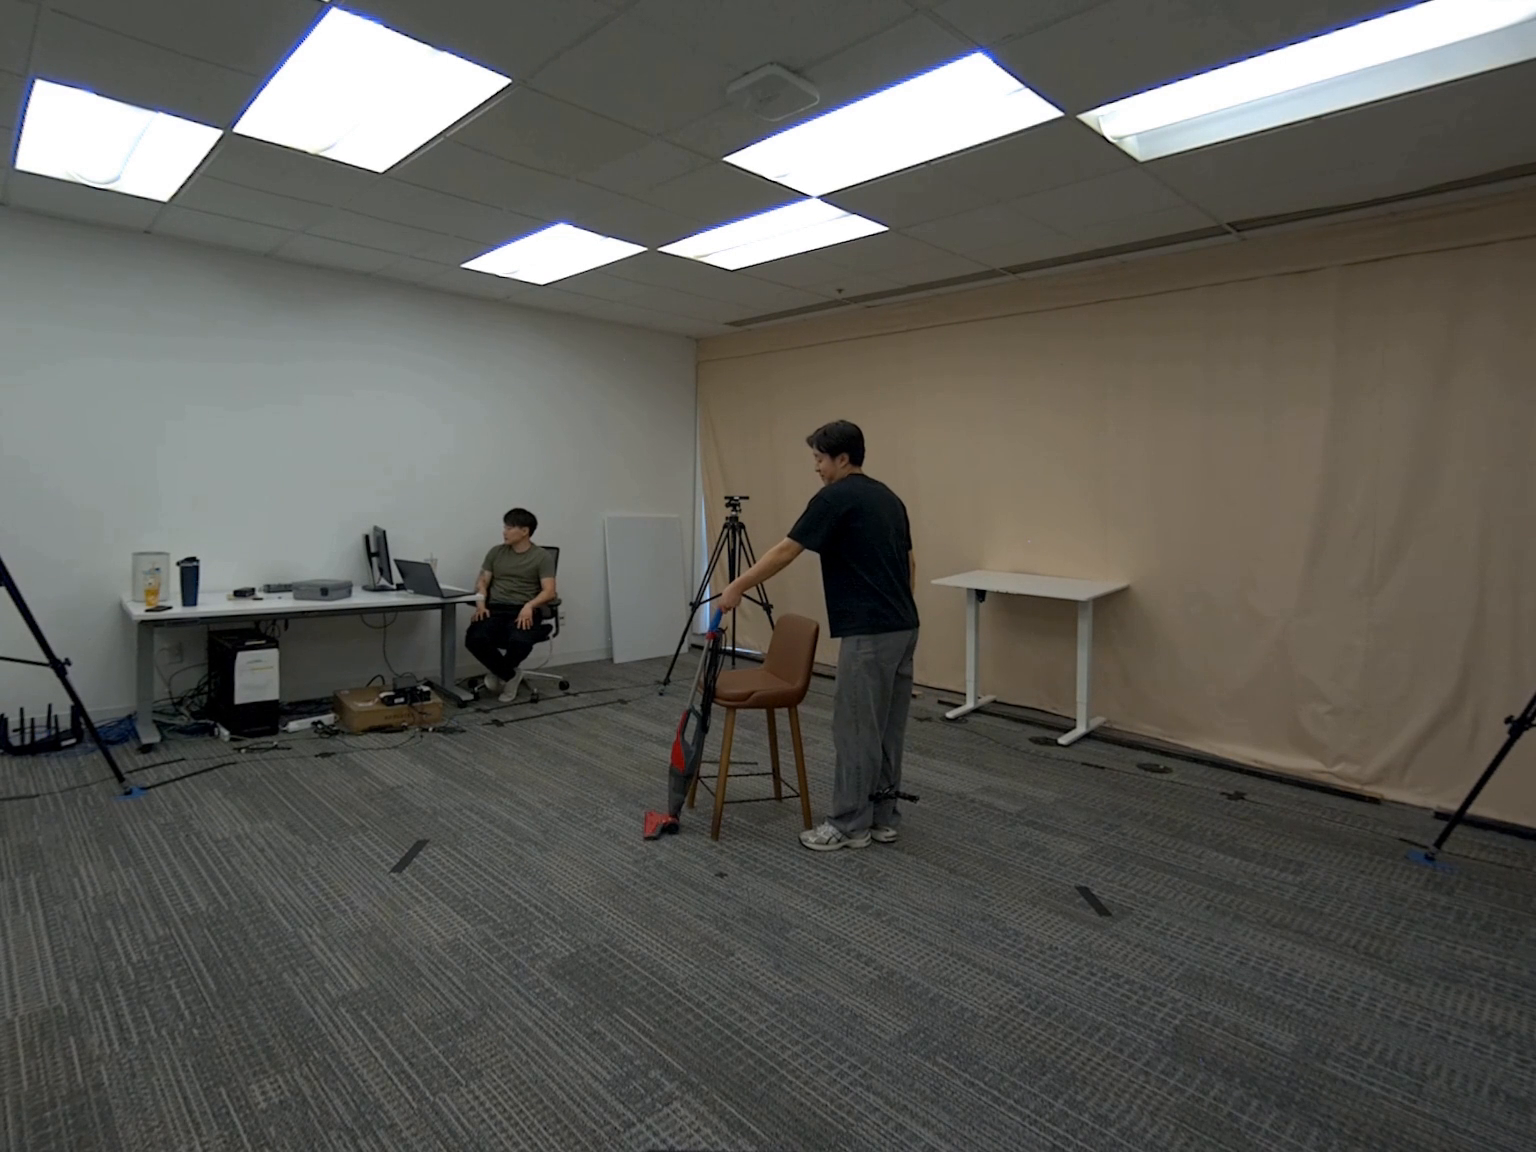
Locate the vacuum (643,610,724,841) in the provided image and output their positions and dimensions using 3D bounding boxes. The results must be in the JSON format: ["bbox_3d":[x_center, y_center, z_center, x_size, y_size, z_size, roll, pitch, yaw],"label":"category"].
[{"bbox_3d":[-0.293,0.546,3.485,0.143,1.048,0.255,18,3,-9],"label":"vacuum"}]
